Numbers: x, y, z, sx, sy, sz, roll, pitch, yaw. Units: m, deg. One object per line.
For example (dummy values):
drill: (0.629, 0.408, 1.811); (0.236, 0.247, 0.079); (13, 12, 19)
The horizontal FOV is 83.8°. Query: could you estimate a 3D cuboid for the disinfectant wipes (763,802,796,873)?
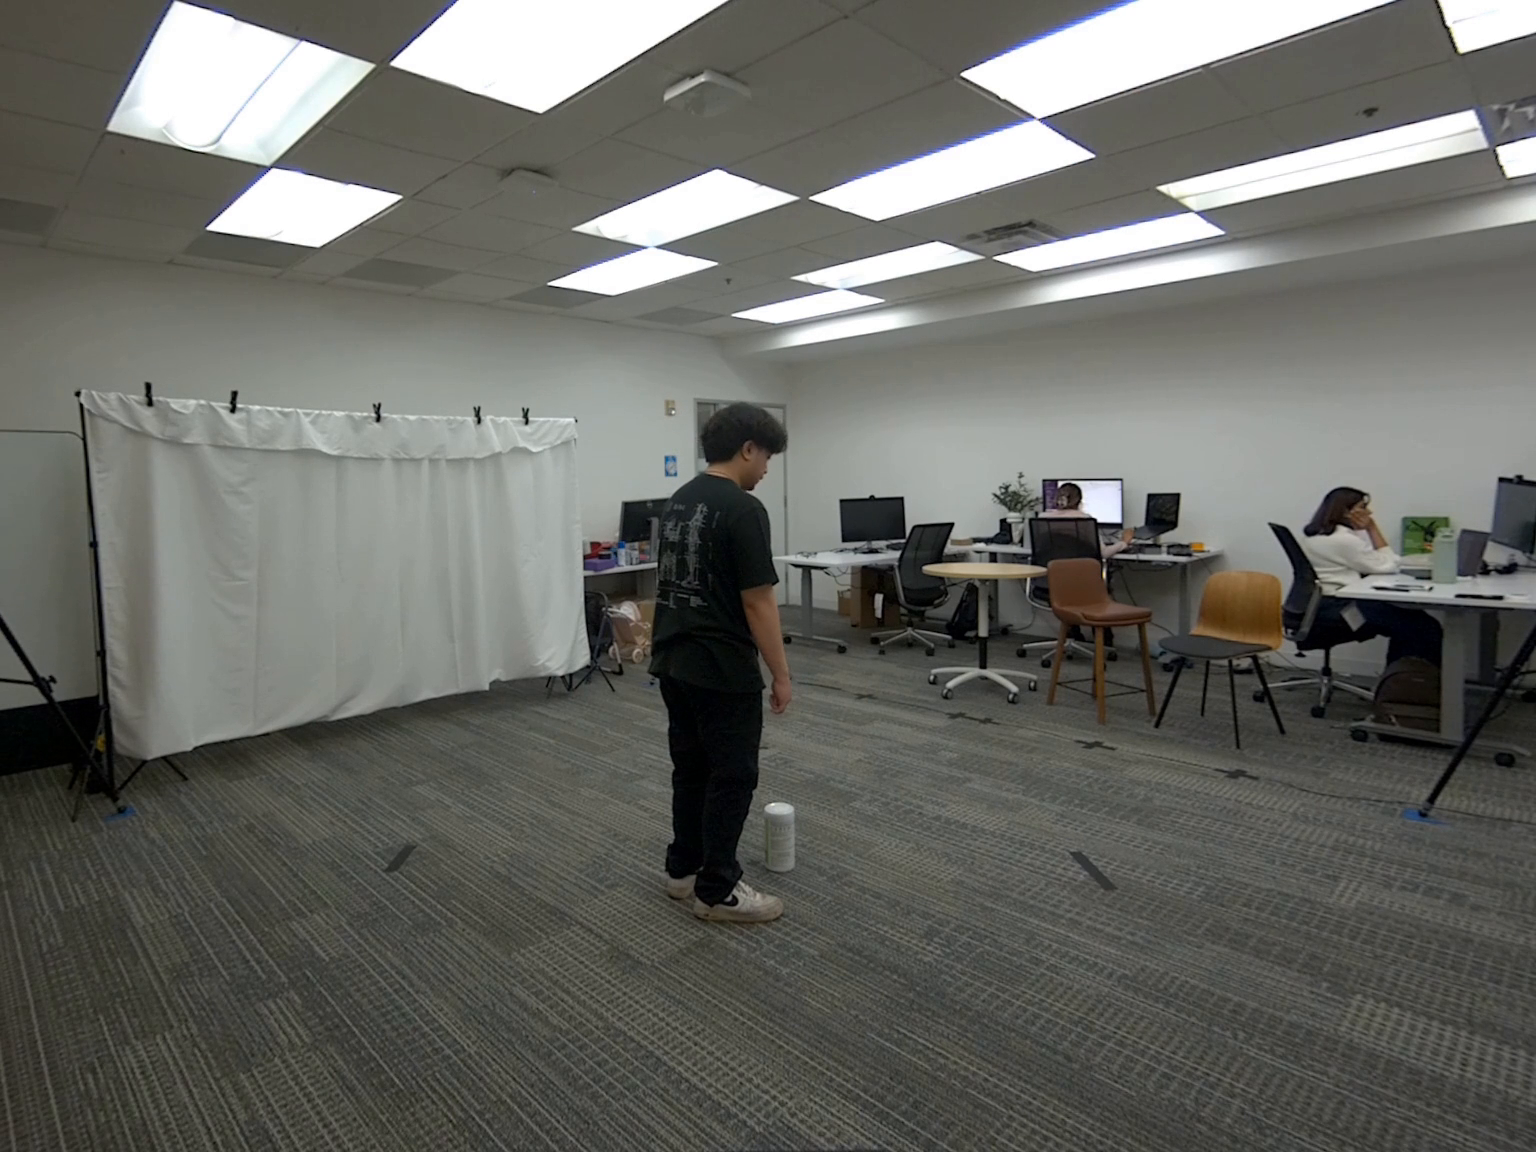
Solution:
disinfectant wipes: (0.047, 0.940, 3.069); (0.118, 0.216, 0.118); (-1, 4, -2)
